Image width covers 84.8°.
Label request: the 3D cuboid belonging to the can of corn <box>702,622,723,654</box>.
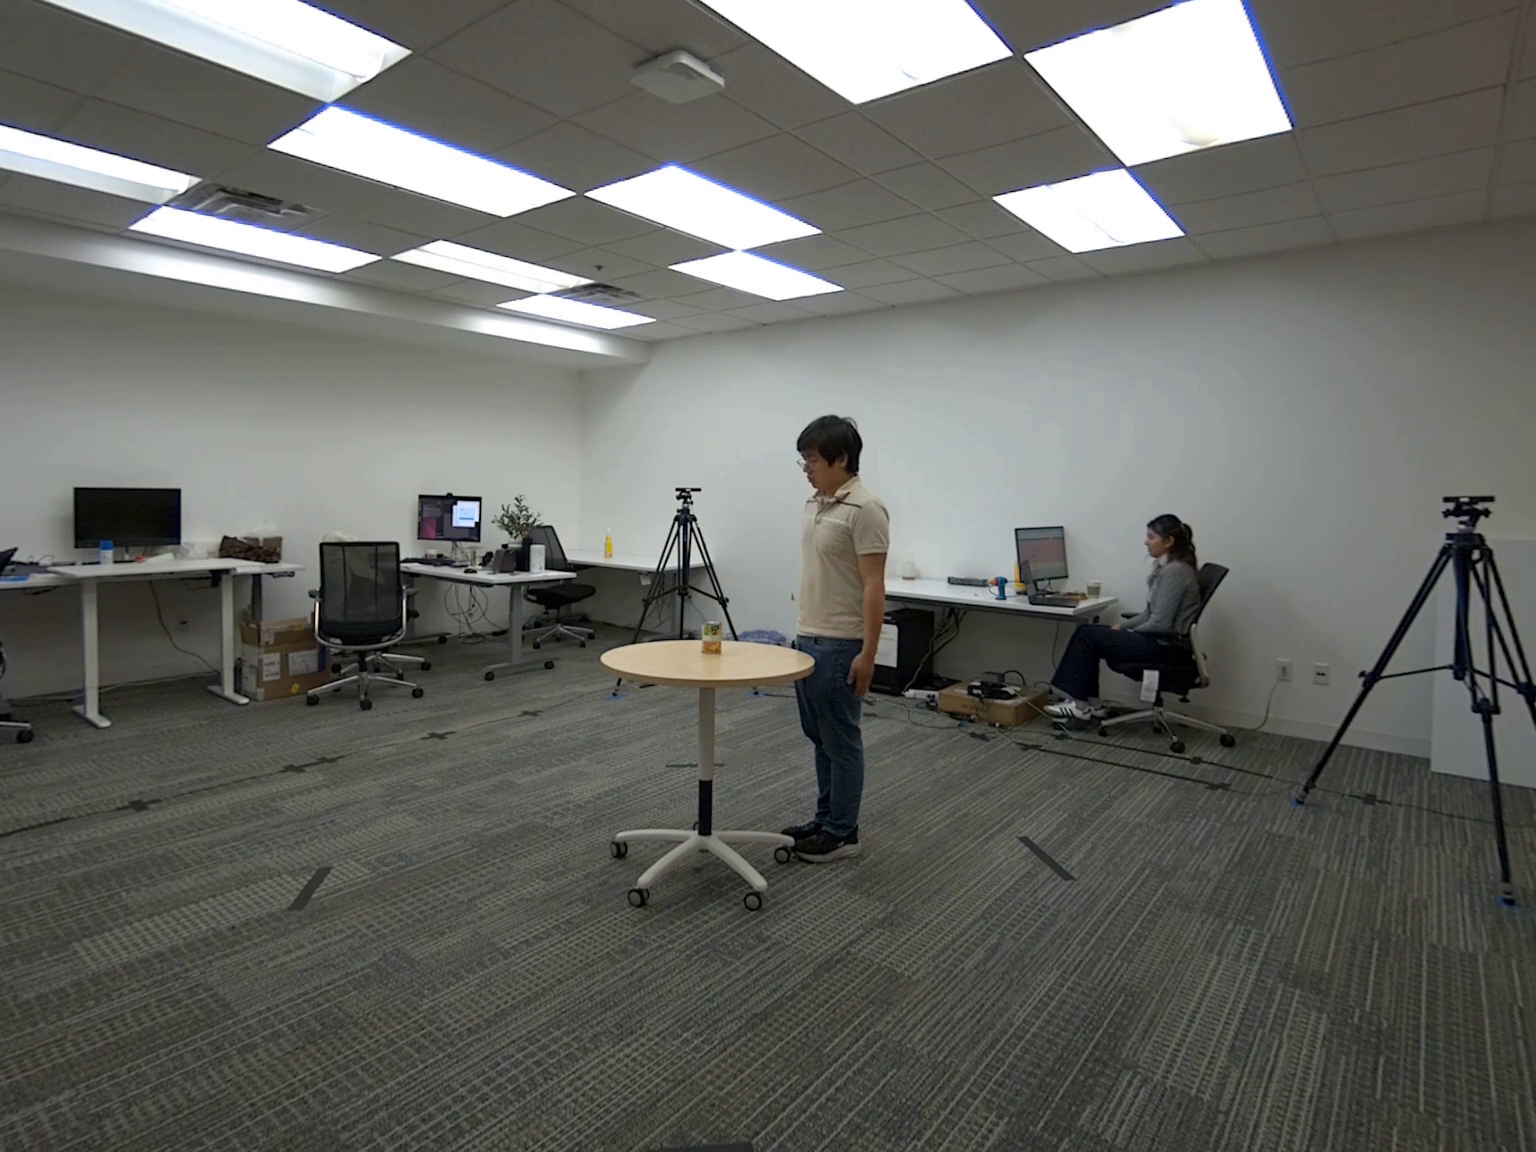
[{"bbox_3d":[-0.223,0.225,3.166,0.074,0.111,0.074,5,3,-2],"label":"can of corn"}]
